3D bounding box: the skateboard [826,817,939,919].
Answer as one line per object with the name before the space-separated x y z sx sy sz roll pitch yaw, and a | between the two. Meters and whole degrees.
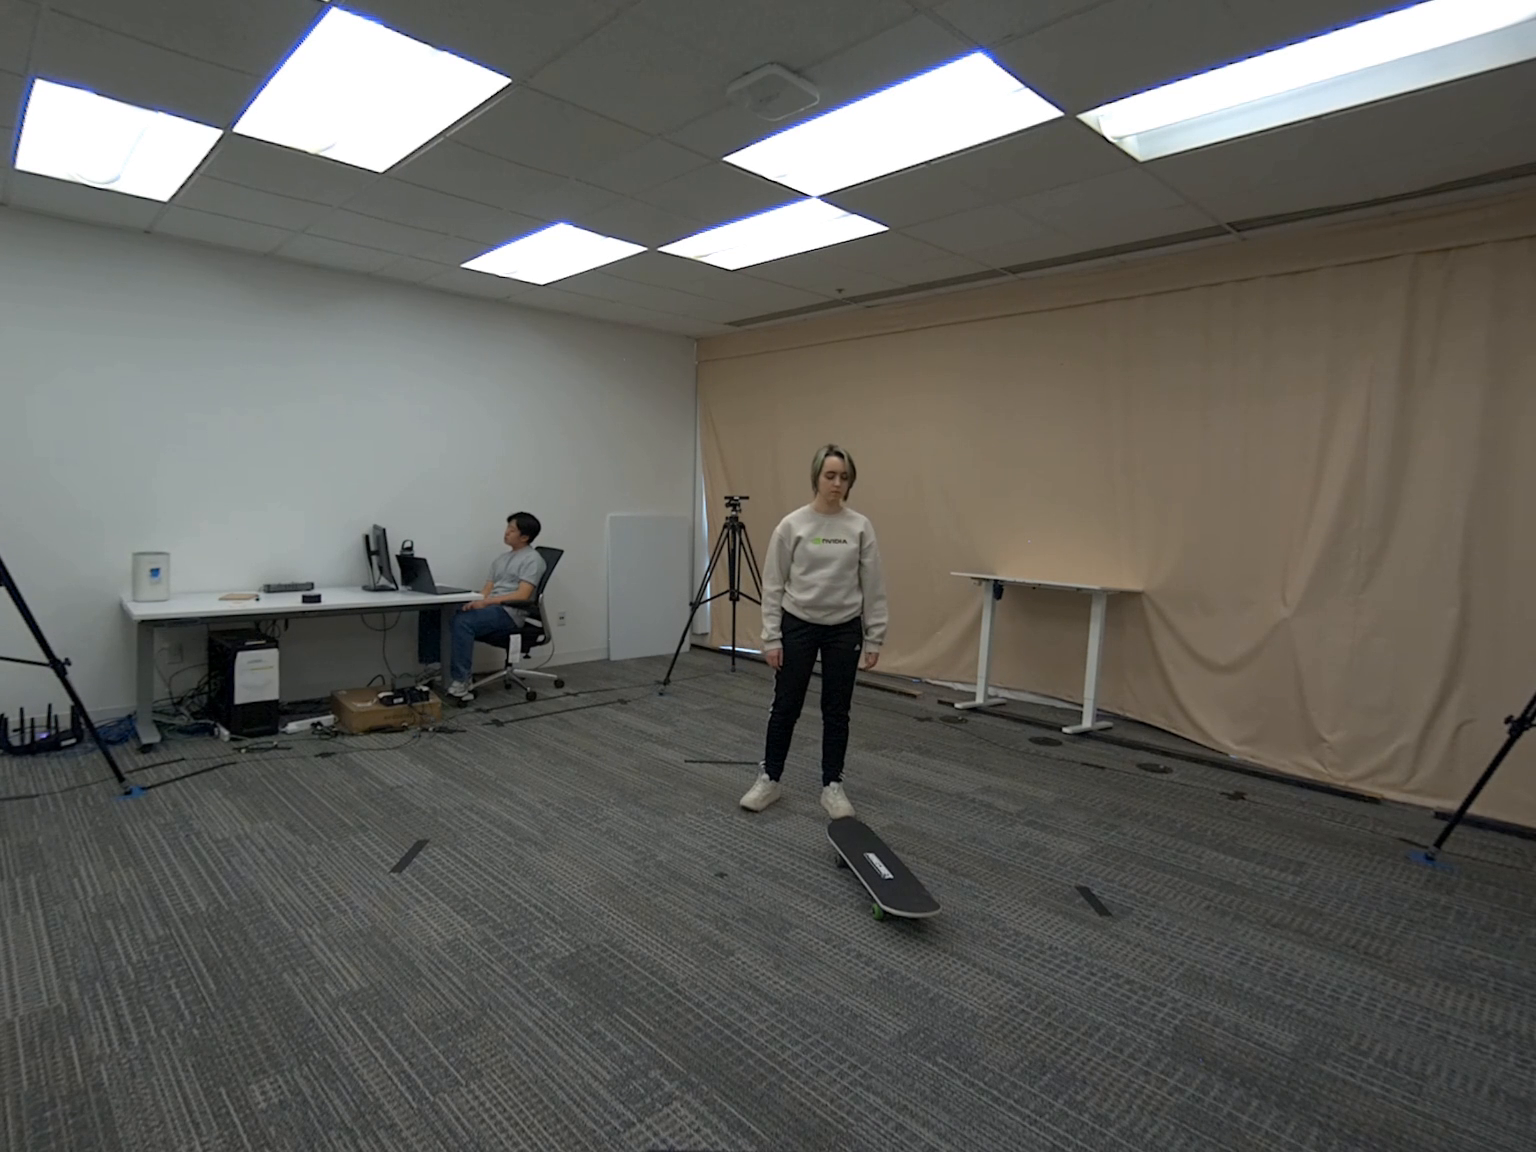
skateboard | 0.392 1.075 3.008 0.191 0.110 0.795 0 6 -13
